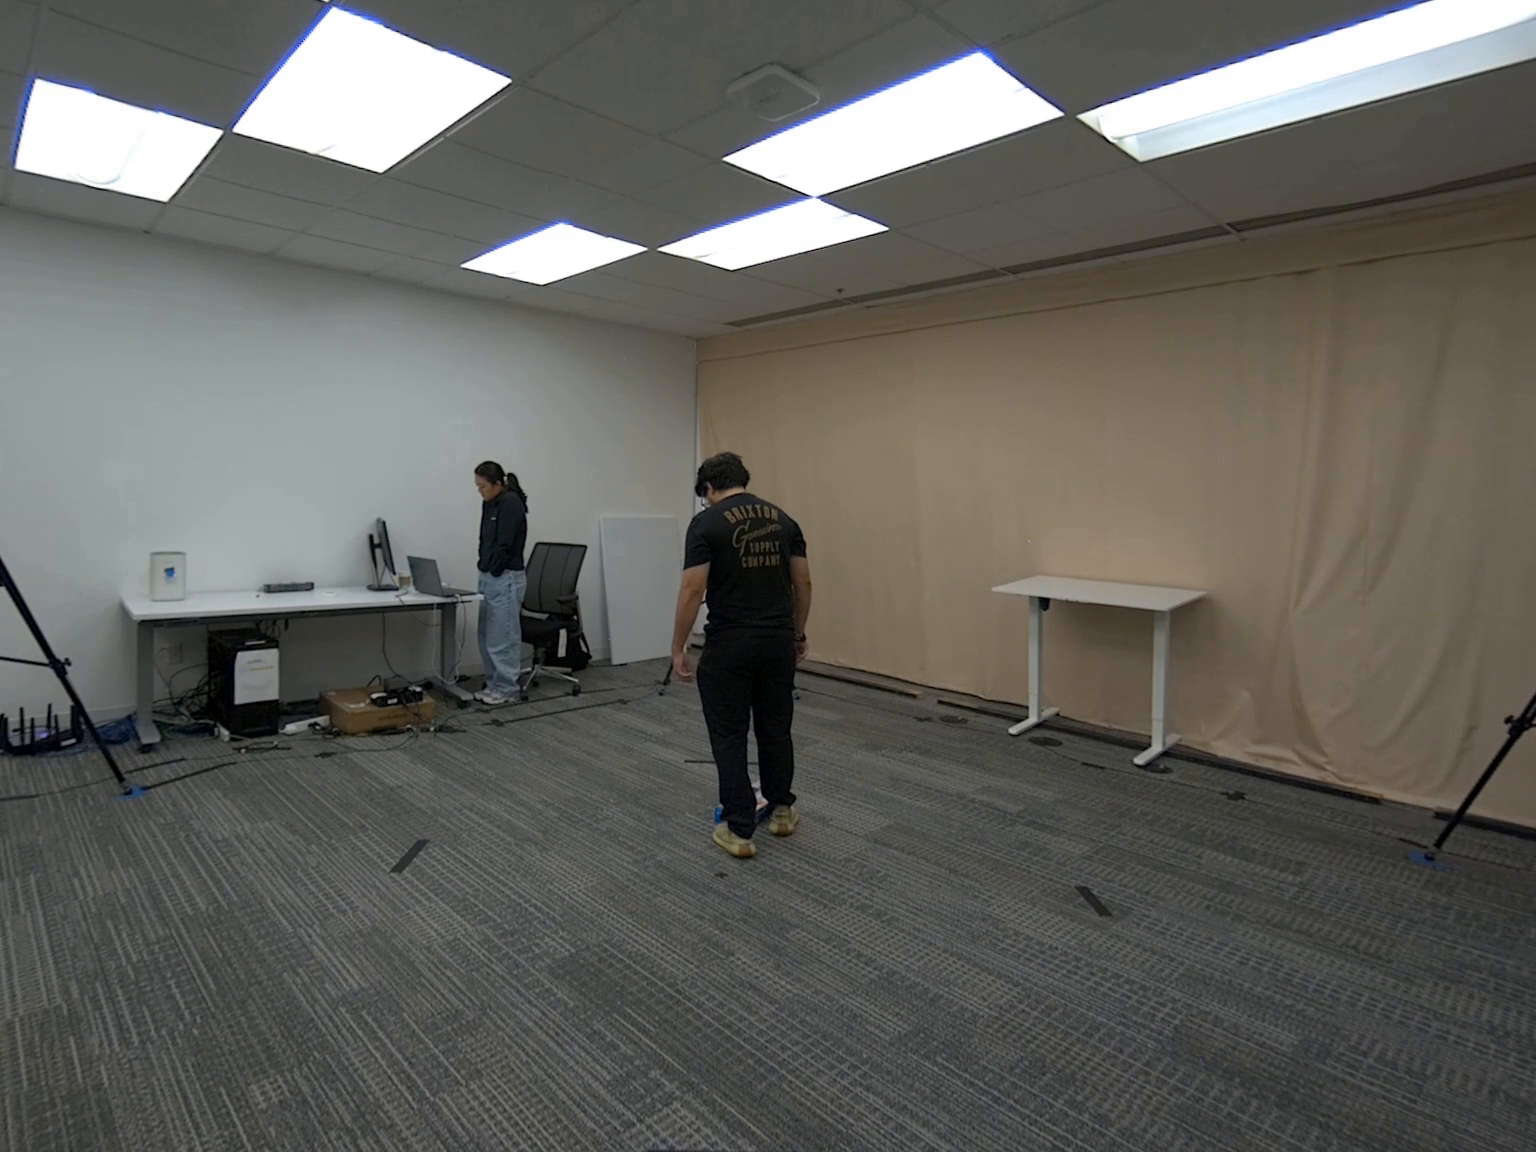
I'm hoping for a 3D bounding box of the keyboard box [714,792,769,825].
[{"bbox_3d":[-0.066,1.023,3.775,0.179,0.059,0.429,5,5,26],"label":"keyboard box"}]
